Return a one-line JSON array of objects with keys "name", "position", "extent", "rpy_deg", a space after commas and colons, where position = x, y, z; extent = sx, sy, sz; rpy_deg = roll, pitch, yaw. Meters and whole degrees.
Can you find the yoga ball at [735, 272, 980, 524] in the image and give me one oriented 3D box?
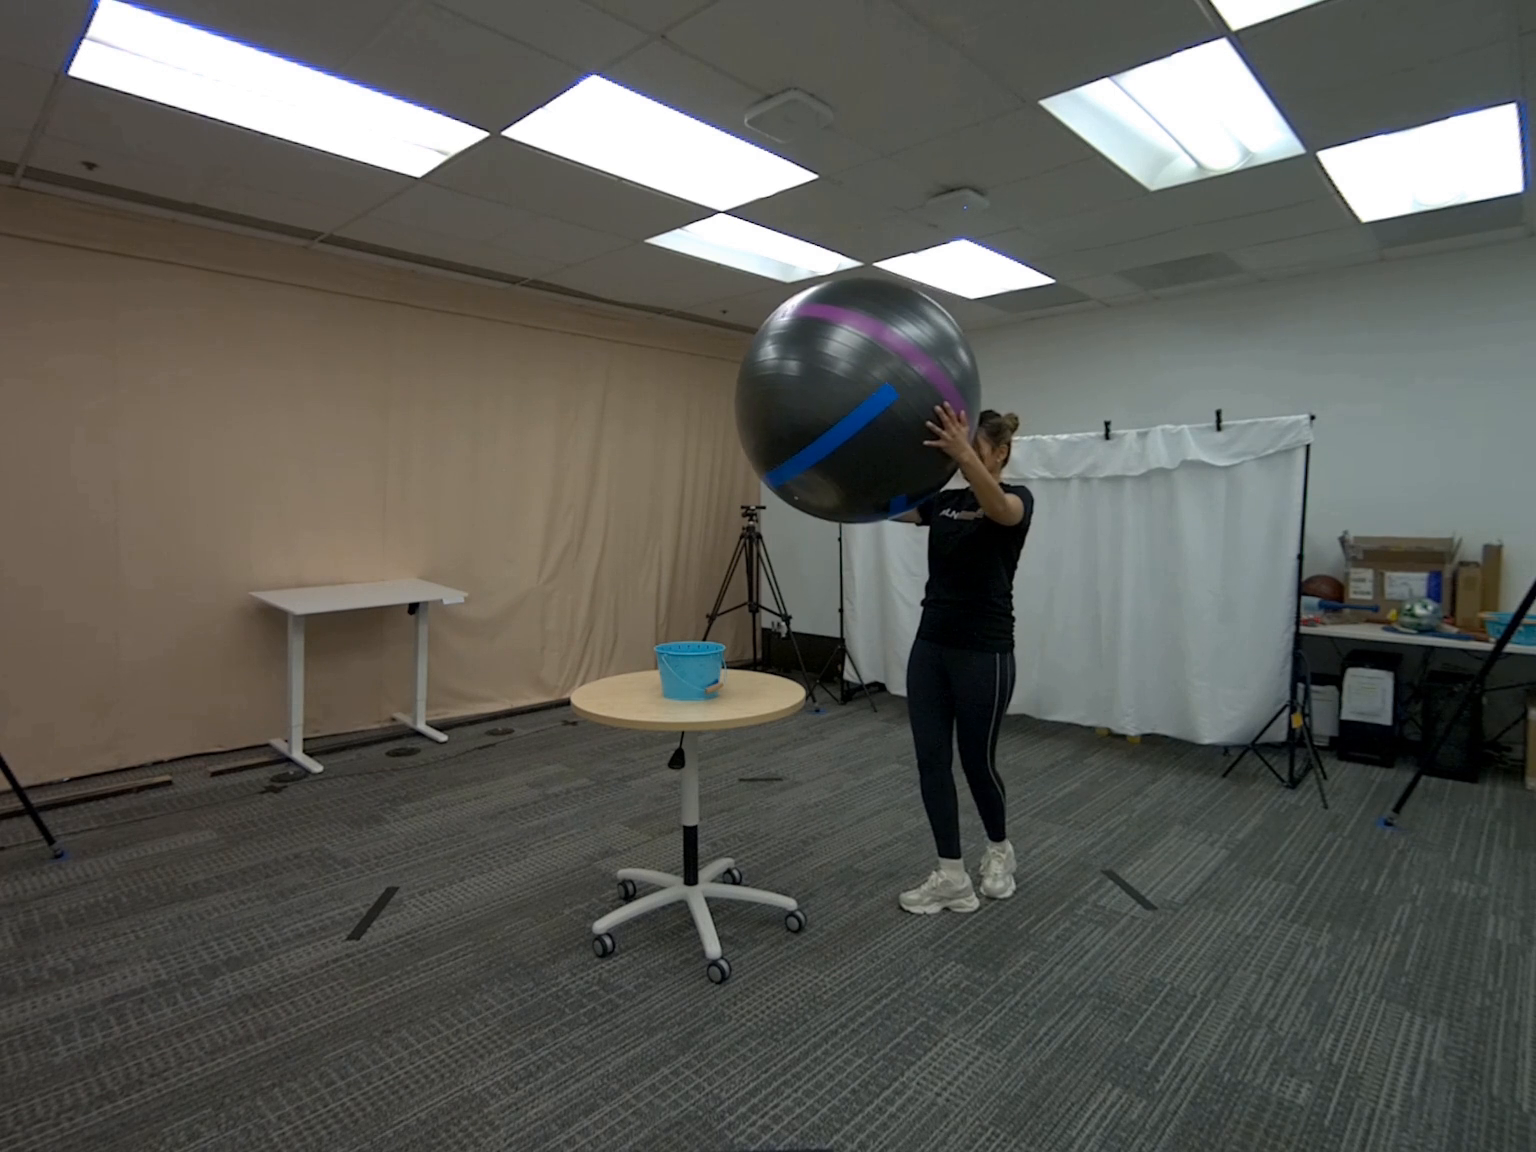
[{"name": "yoga ball", "position": [0.277, -0.539, 2.646], "extent": [0.757, 0.756, 0.761], "rpy_deg": [0, 4, -2]}]
